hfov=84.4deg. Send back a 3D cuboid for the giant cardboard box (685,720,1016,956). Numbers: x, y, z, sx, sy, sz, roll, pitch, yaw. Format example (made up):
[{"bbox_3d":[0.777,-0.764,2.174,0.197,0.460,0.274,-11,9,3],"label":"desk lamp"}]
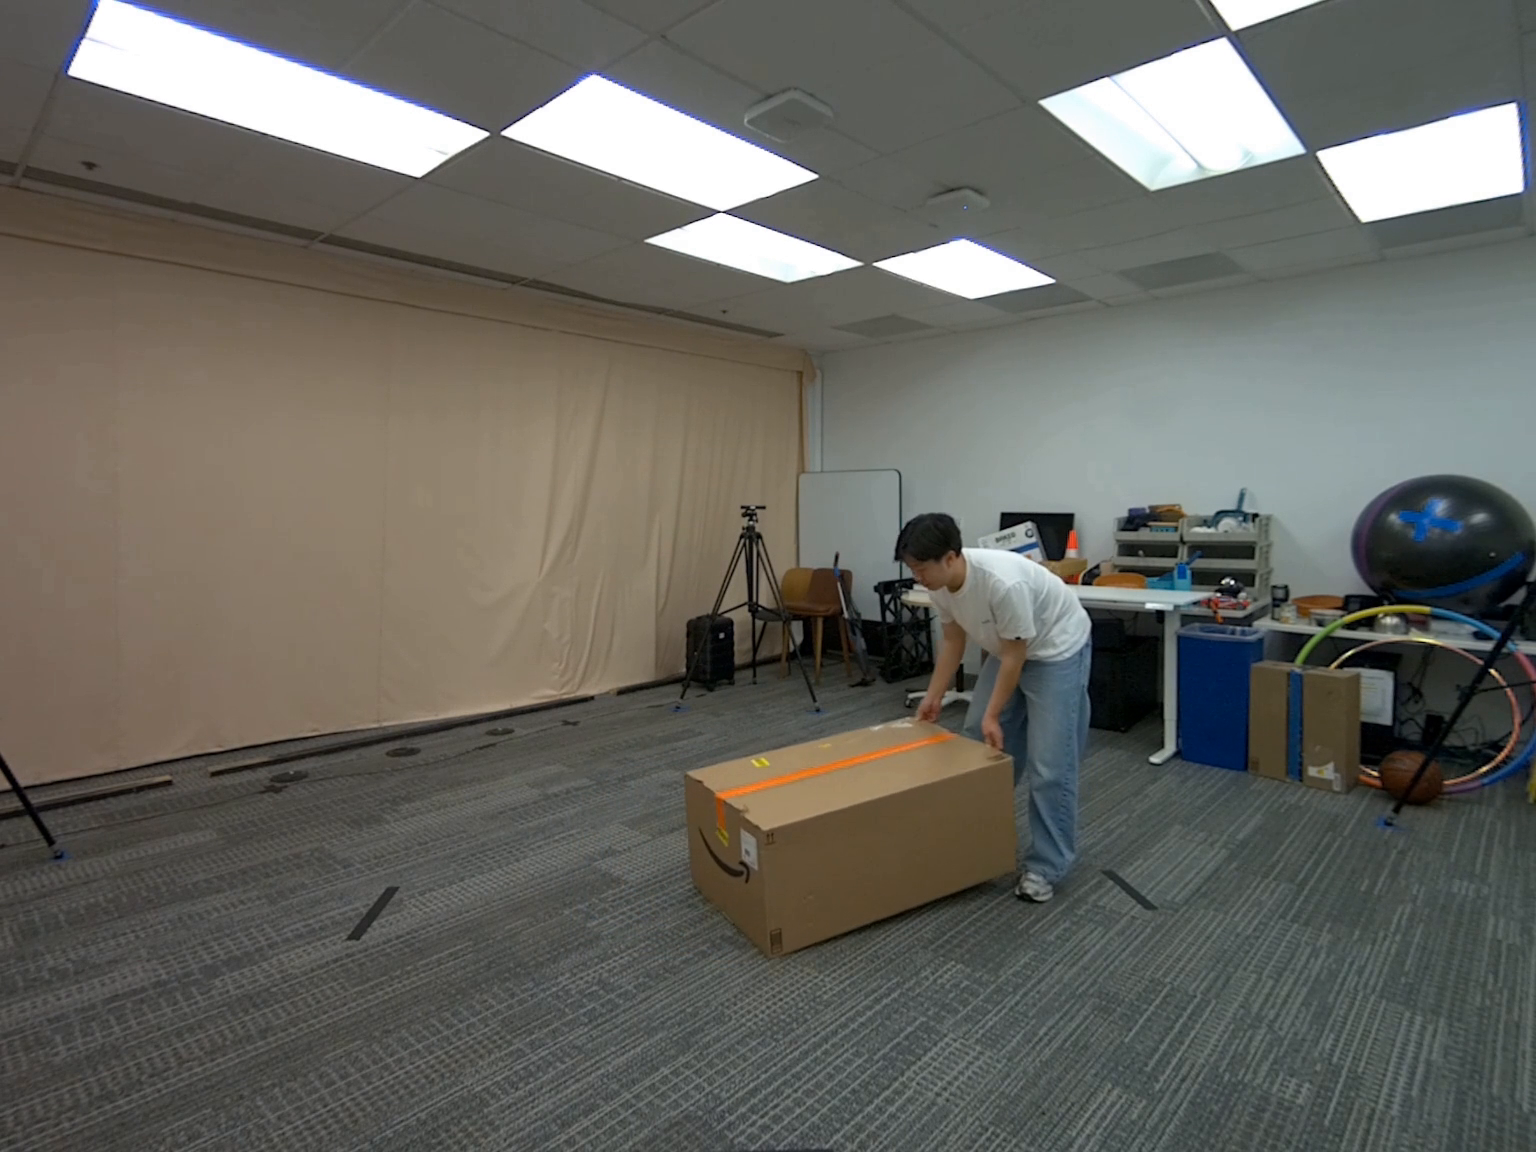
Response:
[{"bbox_3d":[0.299,0.879,3.025,1.002,0.424,0.594,-8,8,-27],"label":"giant cardboard box"}]
